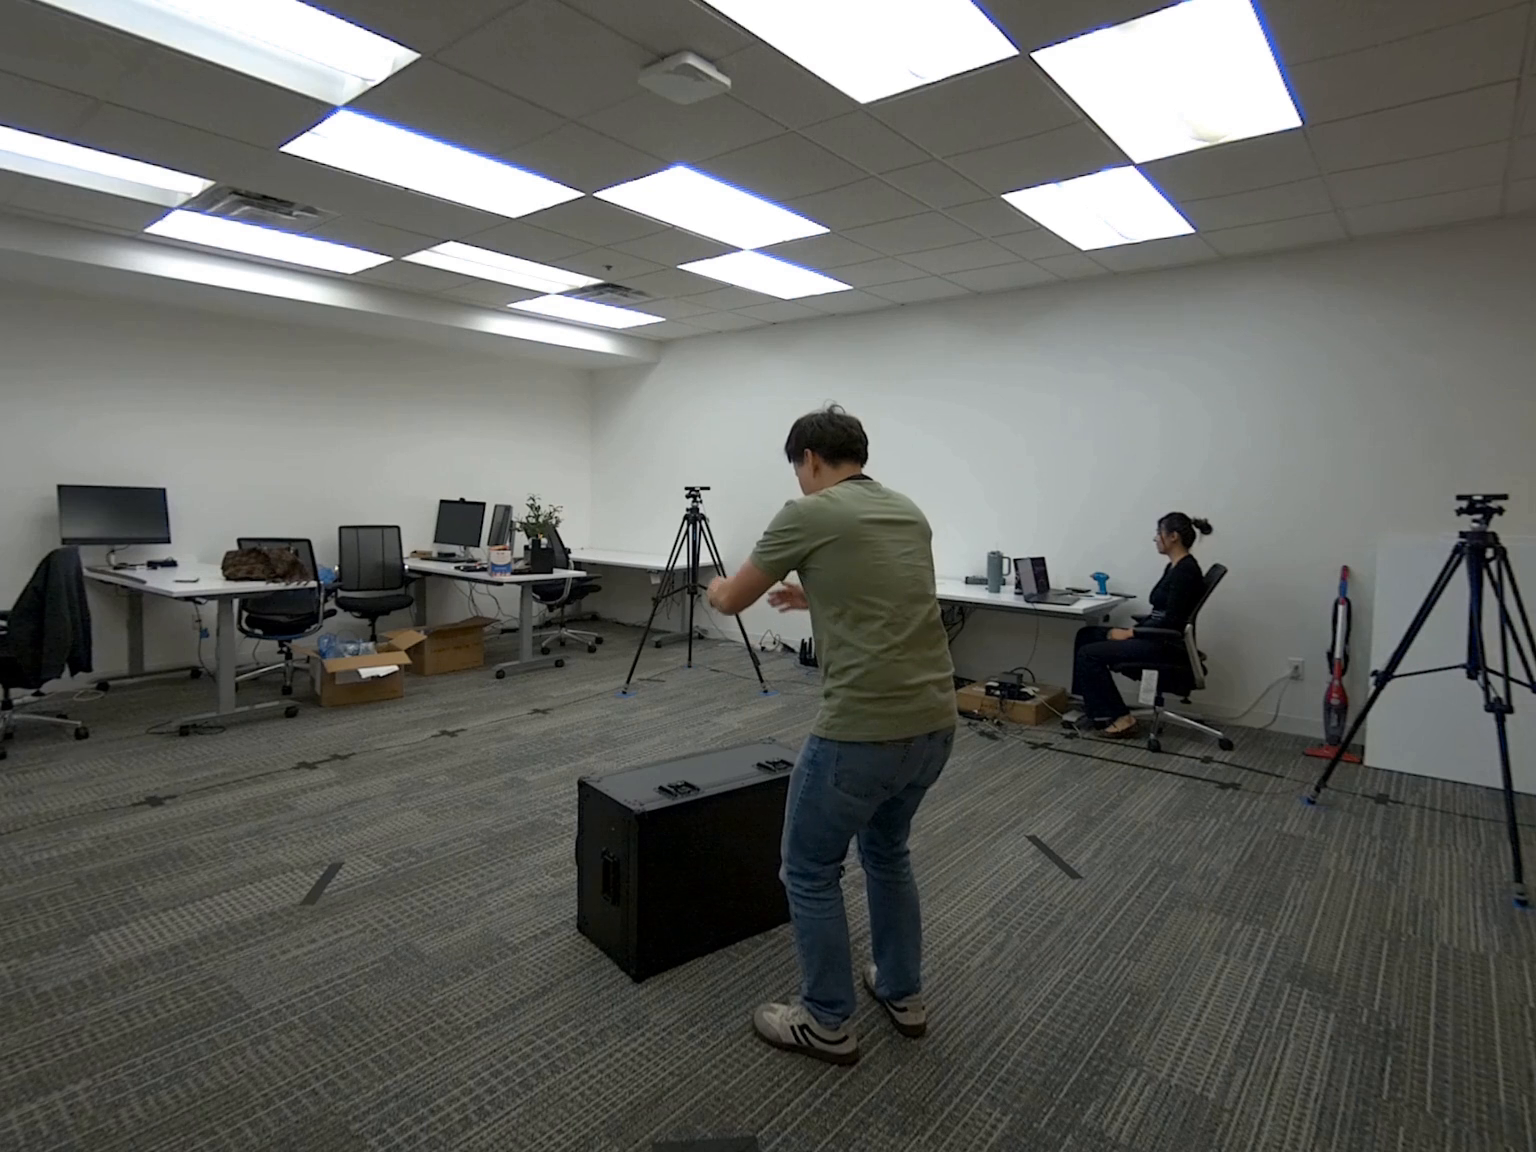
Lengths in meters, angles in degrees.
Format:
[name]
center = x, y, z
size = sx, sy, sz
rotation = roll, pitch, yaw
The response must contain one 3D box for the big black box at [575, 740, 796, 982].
[big black box]
center = -0.175, 0.858, 2.766
size = 0.836, 0.520, 0.409
rotation = -2, 5, -38
